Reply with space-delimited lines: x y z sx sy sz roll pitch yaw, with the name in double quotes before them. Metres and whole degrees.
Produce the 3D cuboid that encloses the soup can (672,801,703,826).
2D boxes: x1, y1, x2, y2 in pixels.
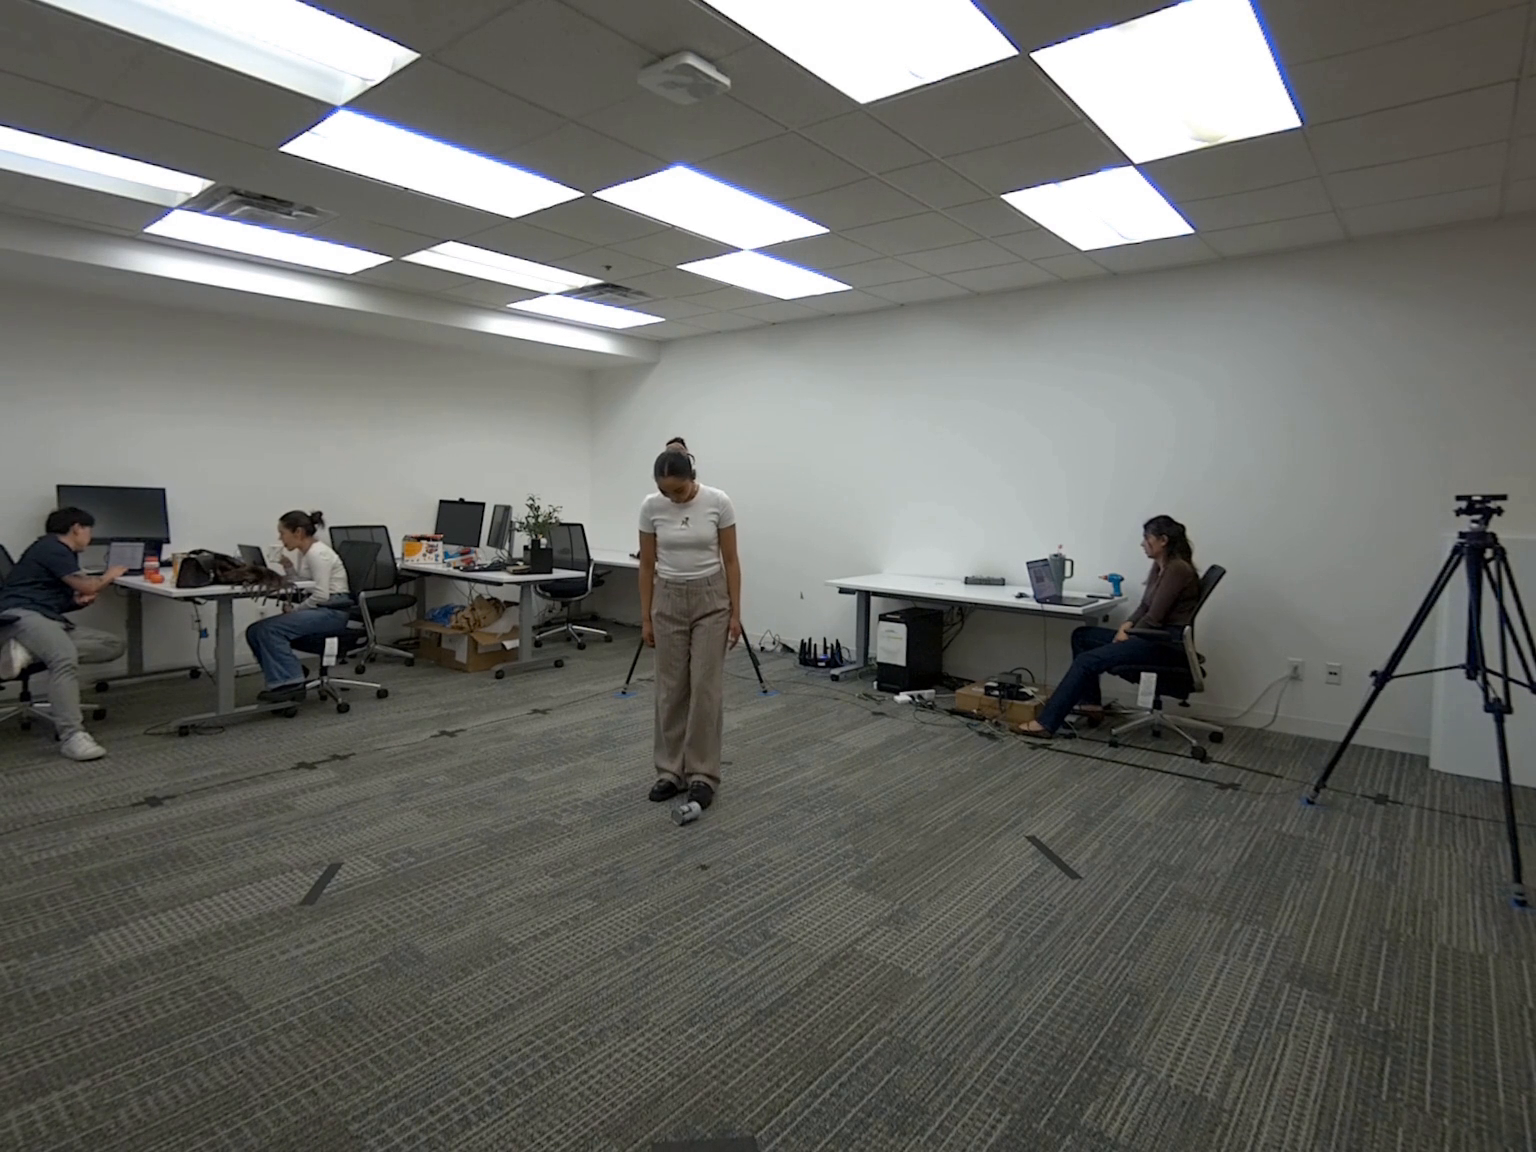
"soup can" -0.362 0.993 3.578 0.119 0.066 0.069 -13 9 -21
